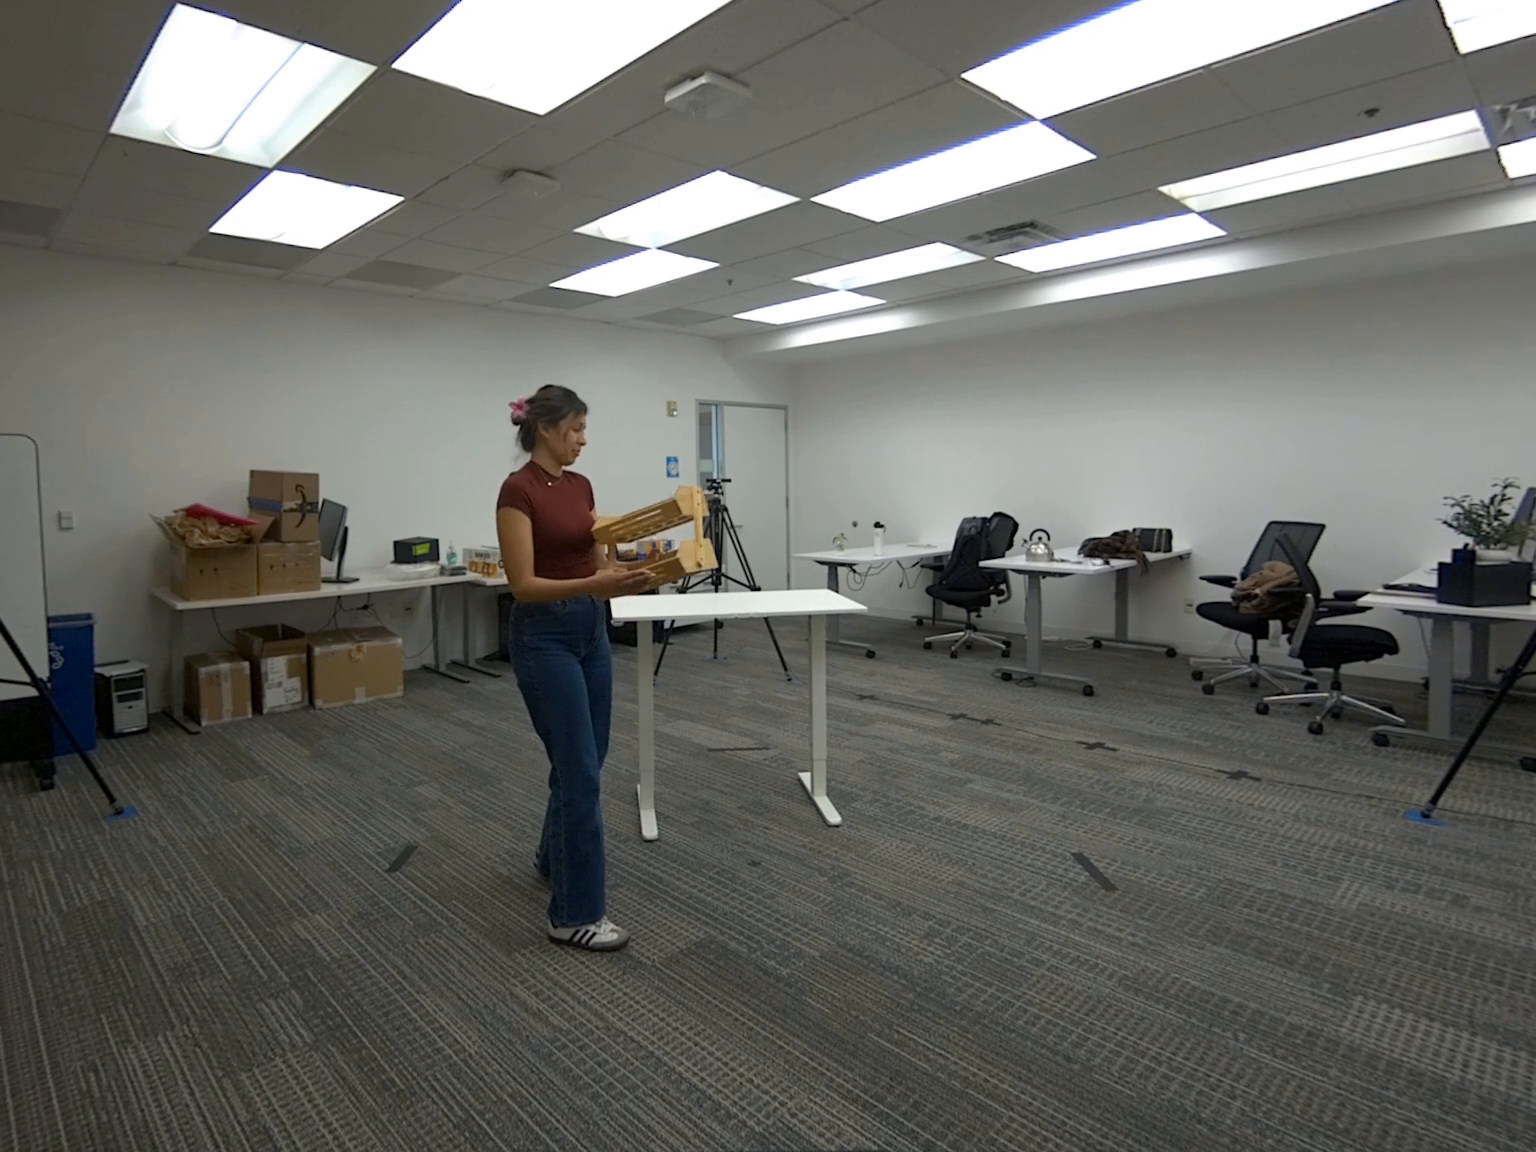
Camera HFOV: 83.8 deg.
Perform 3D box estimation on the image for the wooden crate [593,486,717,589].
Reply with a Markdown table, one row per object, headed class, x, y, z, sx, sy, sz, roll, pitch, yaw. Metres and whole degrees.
| class | x | y | z | sx | sy | sz | roll | pitch | yaw |
| --- | --- | --- | --- | --- | --- | --- | --- | --- | --- |
| wooden crate | -0.361 | -0.106 | 2.574 | 0.329 | 0.275 | 0.296 | -18 | -5 | 22 |
